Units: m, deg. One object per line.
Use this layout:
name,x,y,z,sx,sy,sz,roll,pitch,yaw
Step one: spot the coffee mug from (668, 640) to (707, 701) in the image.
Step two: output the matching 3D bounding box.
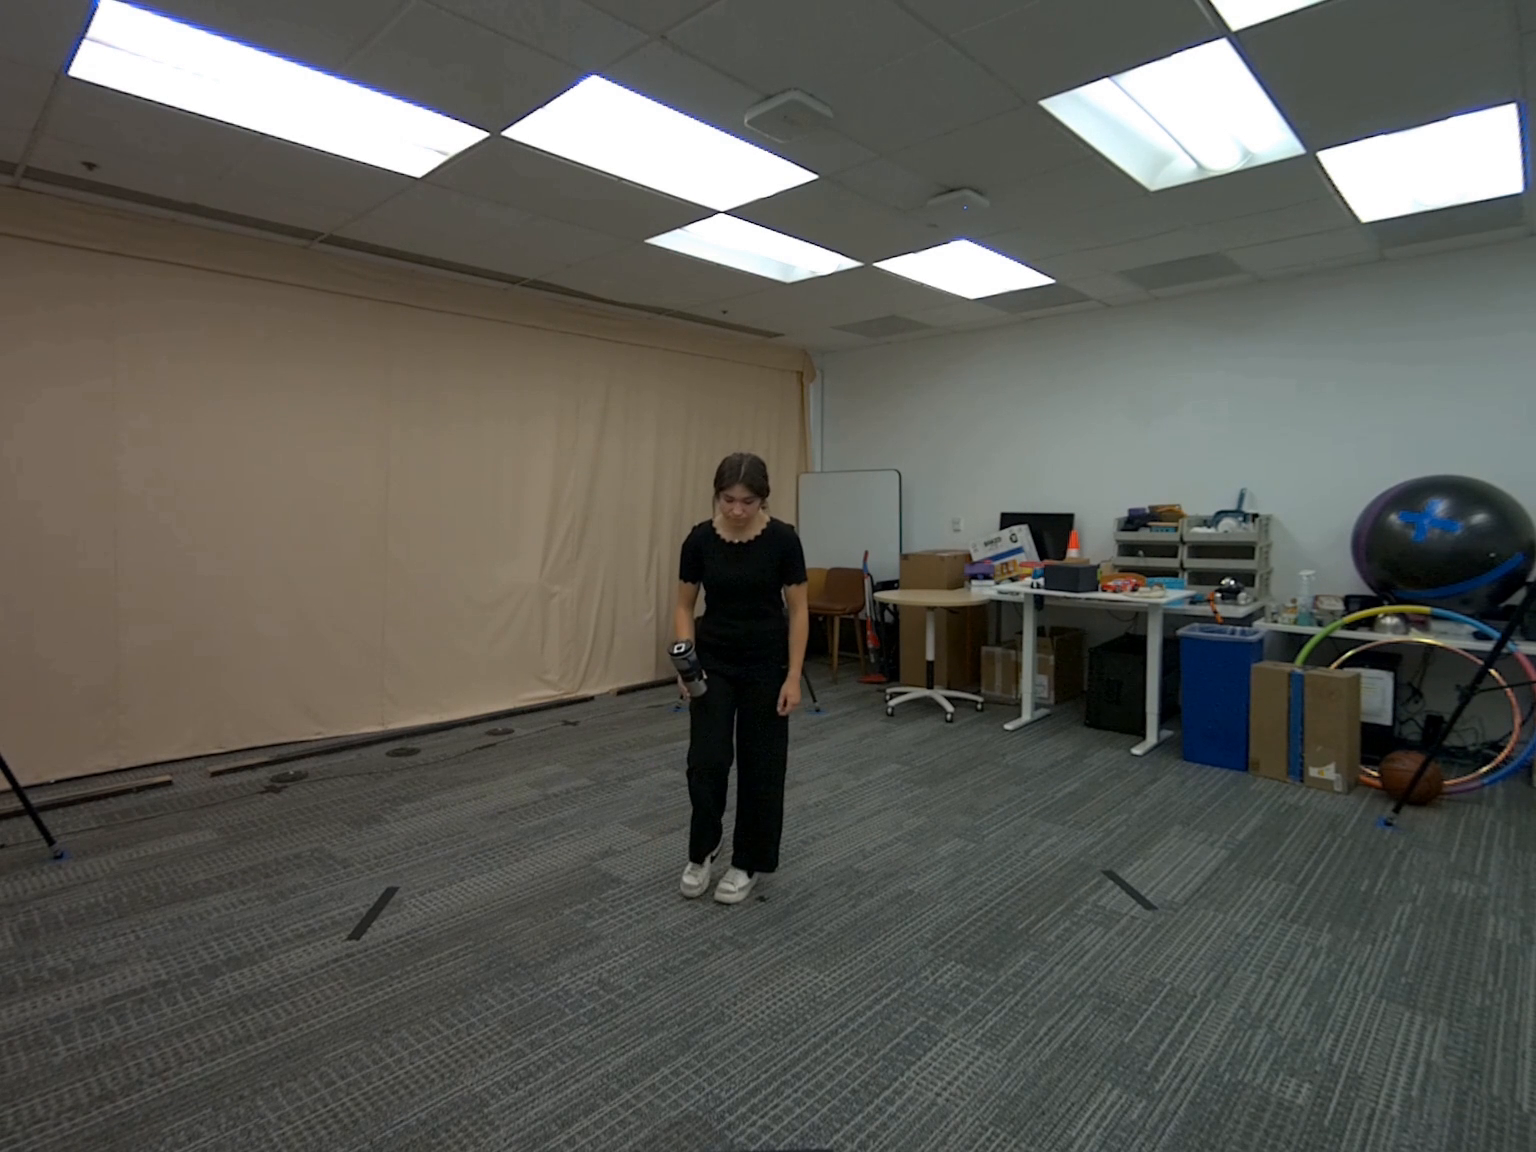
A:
coffee mug,-0.261,0.322,2.768,0.088,0.199,0.124,-14,25,0
